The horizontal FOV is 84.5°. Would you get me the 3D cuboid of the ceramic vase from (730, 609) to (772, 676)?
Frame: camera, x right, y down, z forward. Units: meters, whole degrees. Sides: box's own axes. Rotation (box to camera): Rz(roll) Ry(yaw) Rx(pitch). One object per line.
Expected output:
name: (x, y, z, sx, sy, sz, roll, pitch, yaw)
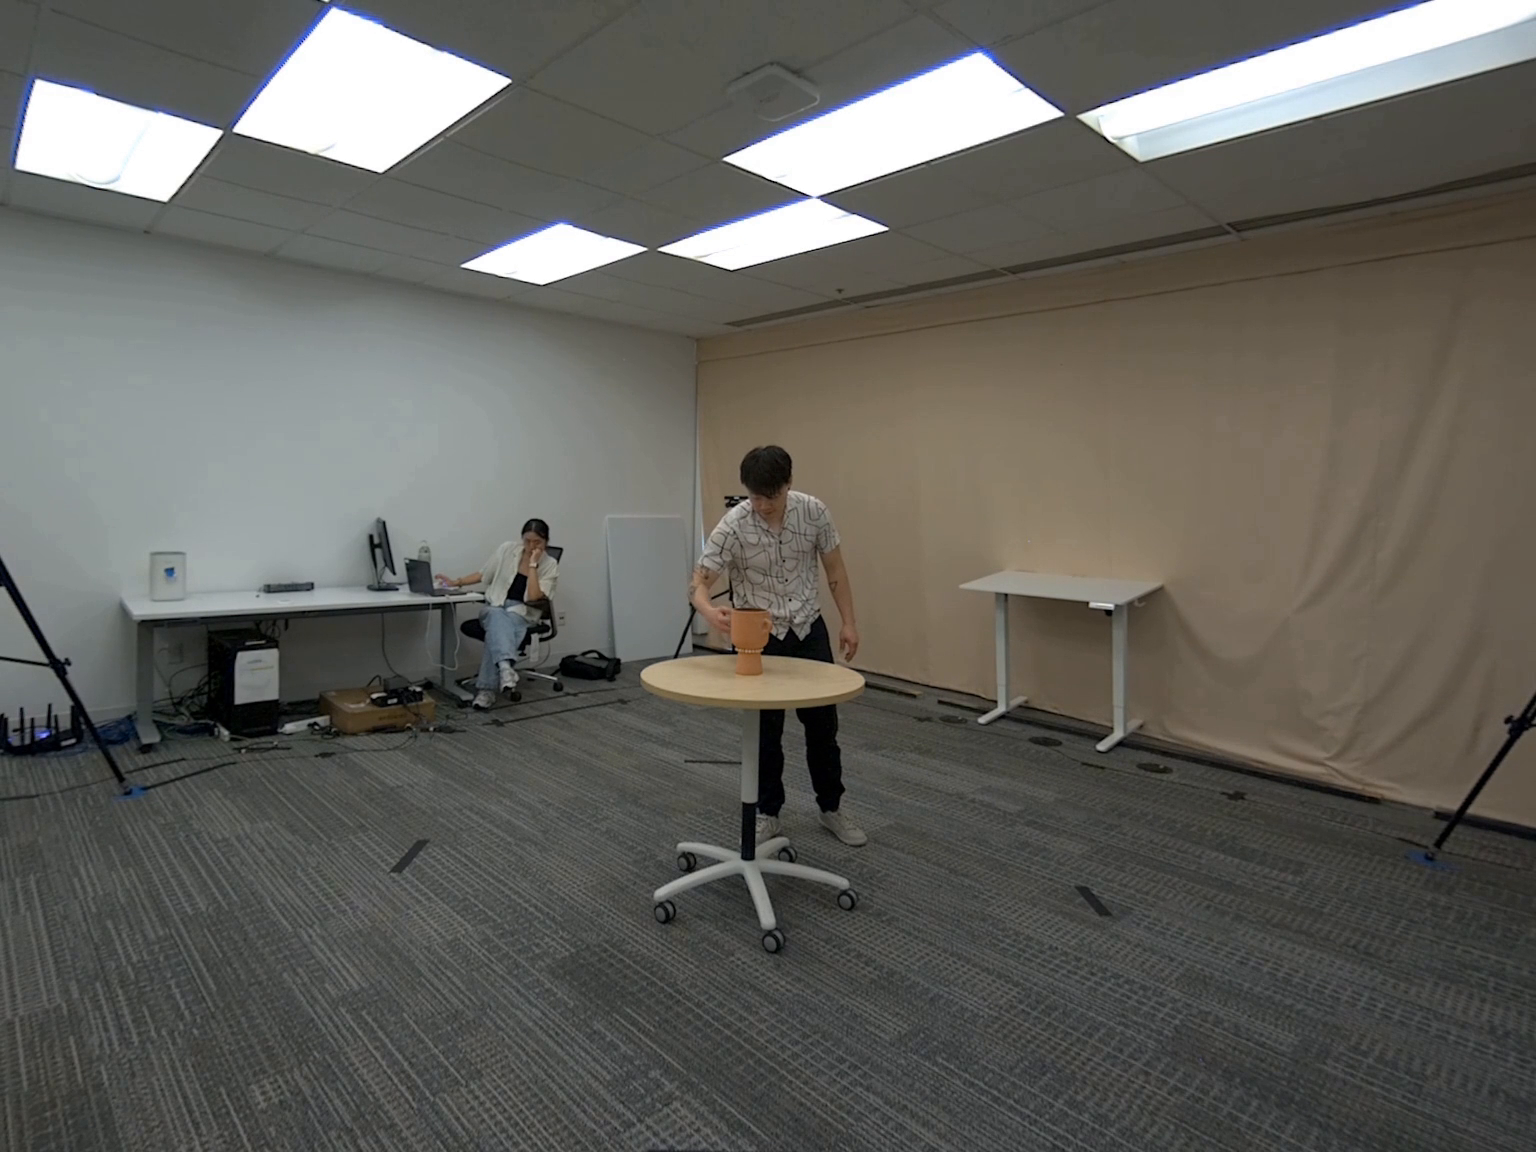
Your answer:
ceramic vase: (-0.080, 0.231, 2.924, 0.133, 0.219, 0.160, 1, 3, -11)
